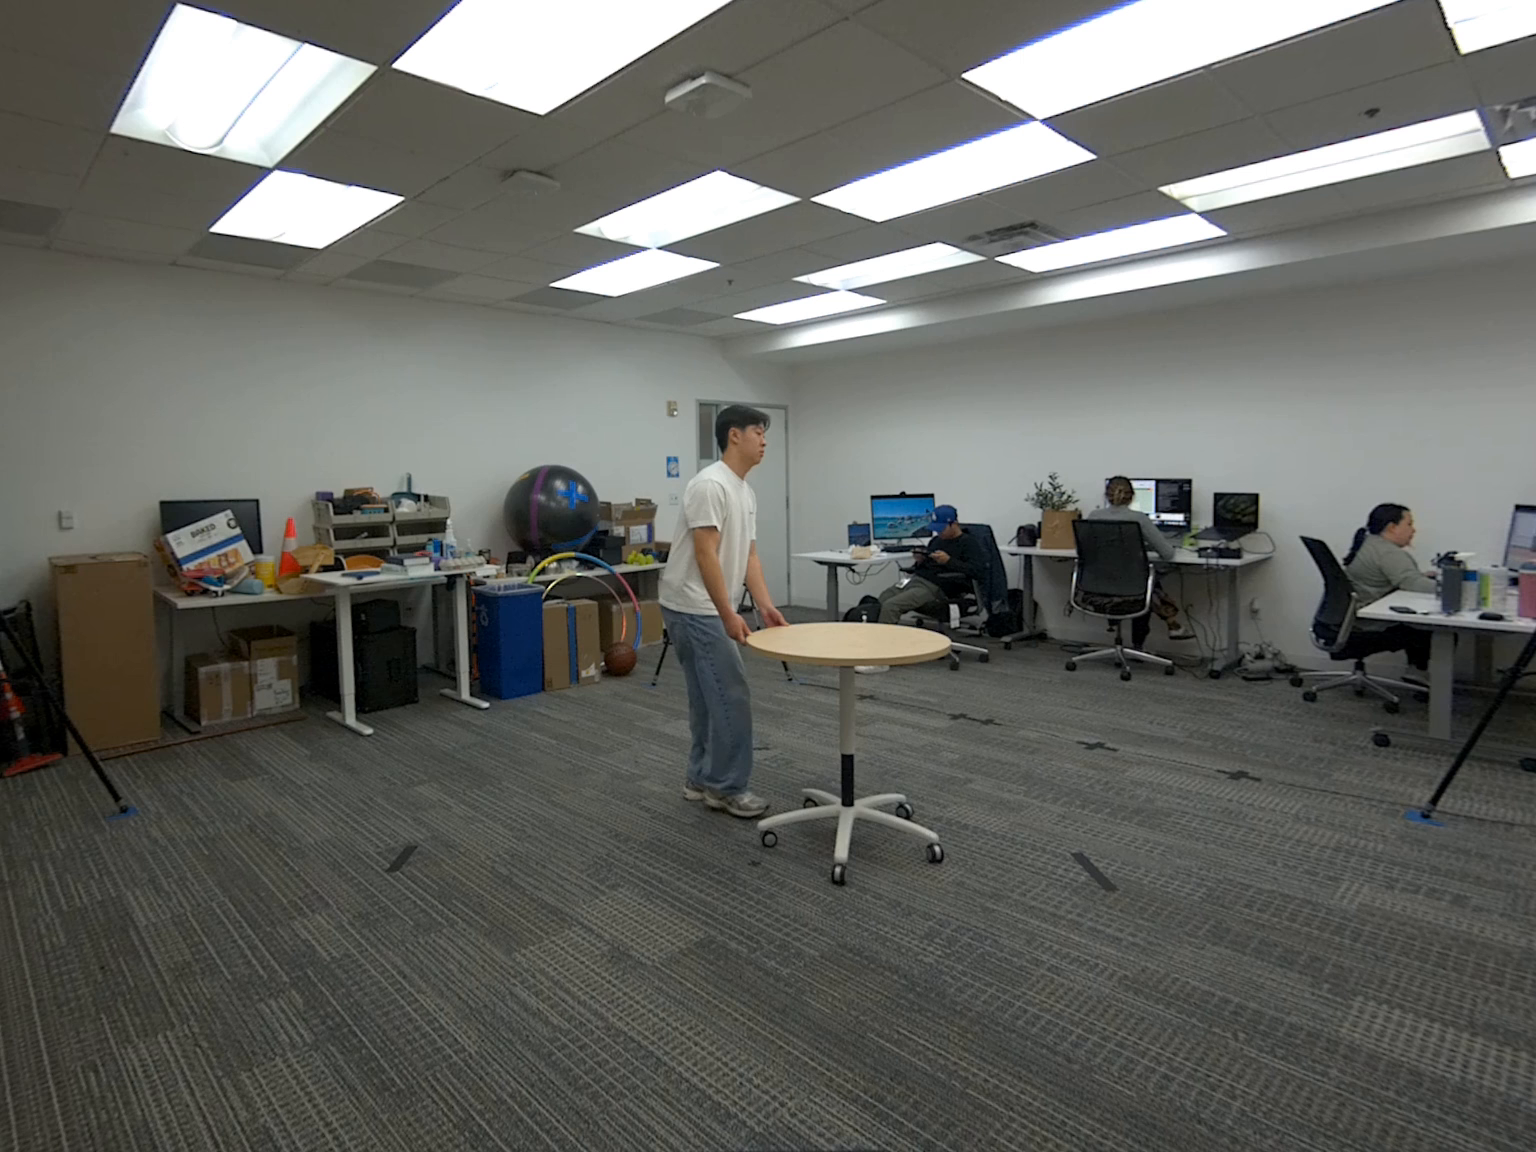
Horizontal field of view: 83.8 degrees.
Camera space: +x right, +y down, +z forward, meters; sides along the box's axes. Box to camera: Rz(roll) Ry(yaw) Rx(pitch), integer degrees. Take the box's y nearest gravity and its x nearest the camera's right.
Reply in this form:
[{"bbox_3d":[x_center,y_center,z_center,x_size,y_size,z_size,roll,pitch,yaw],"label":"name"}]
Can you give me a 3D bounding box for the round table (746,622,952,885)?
[{"bbox_3d":[0.312,0.632,3.260,0.763,0.791,0.768,-1,5,-2],"label":"round table"}]
